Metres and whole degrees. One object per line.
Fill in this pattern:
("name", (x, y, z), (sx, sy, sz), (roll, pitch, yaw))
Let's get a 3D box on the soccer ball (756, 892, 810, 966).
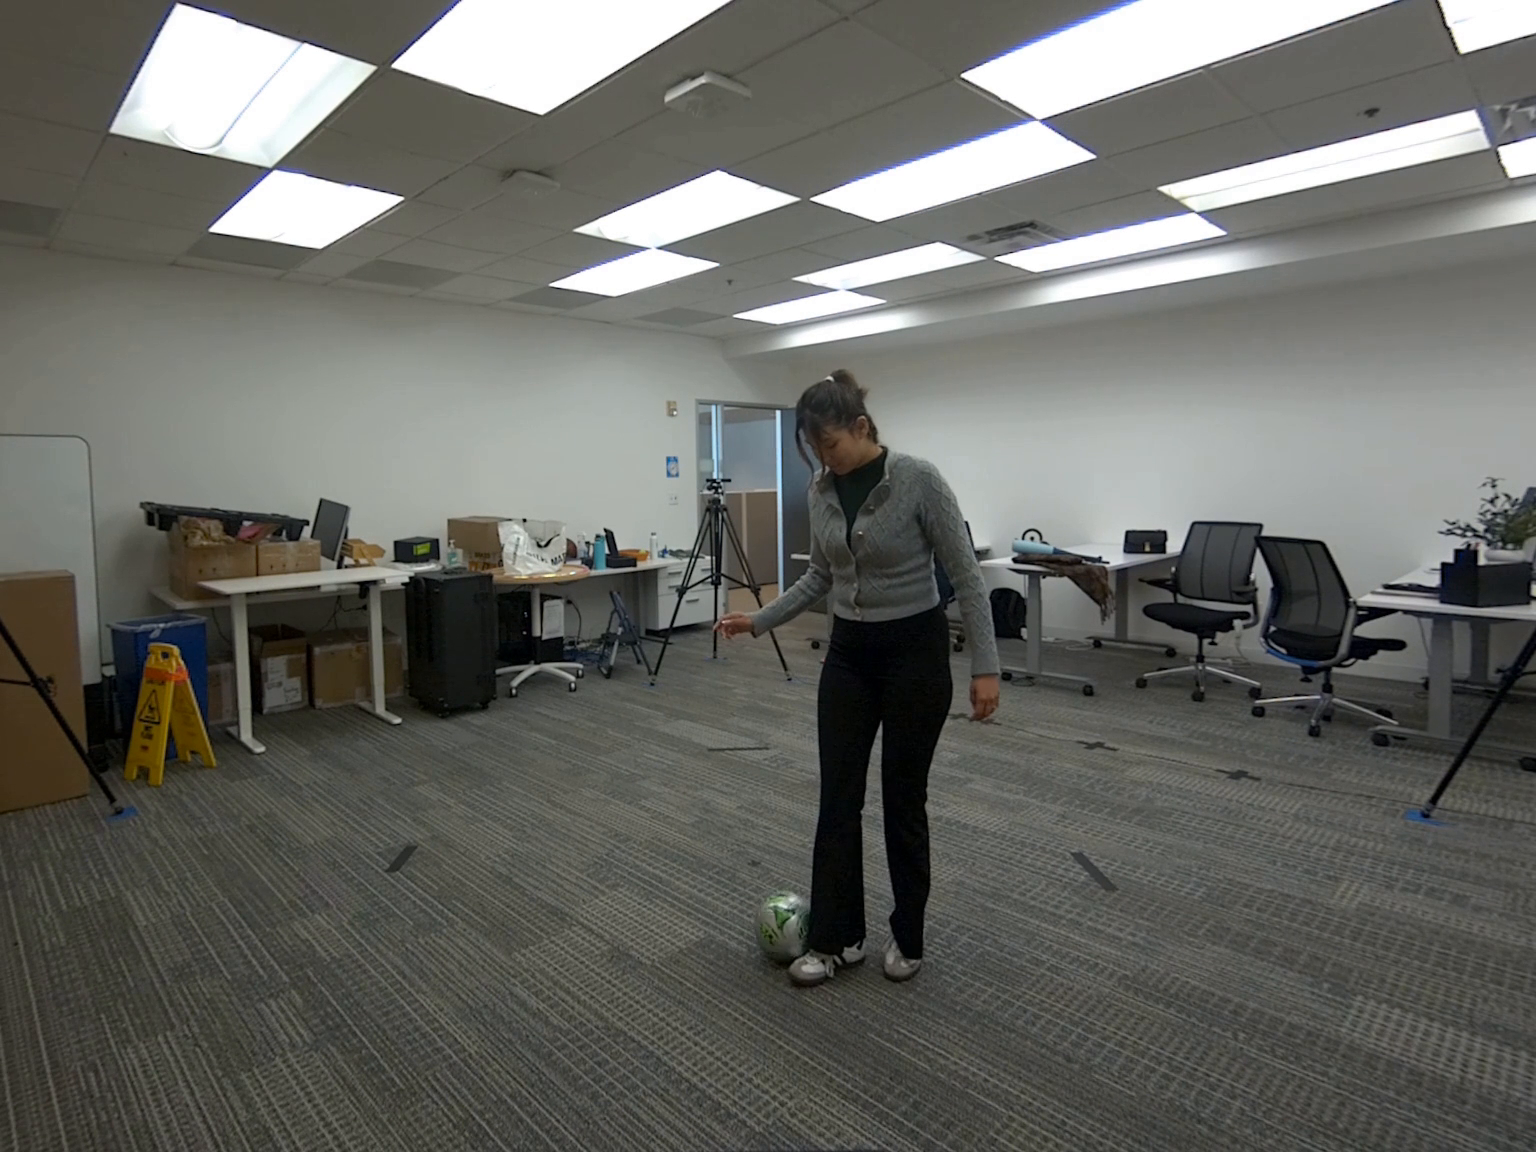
("soccer ball", (0.061, 1.025, 2.490), (0.187, 0.187, 0.188), (-1, 5, -2))
